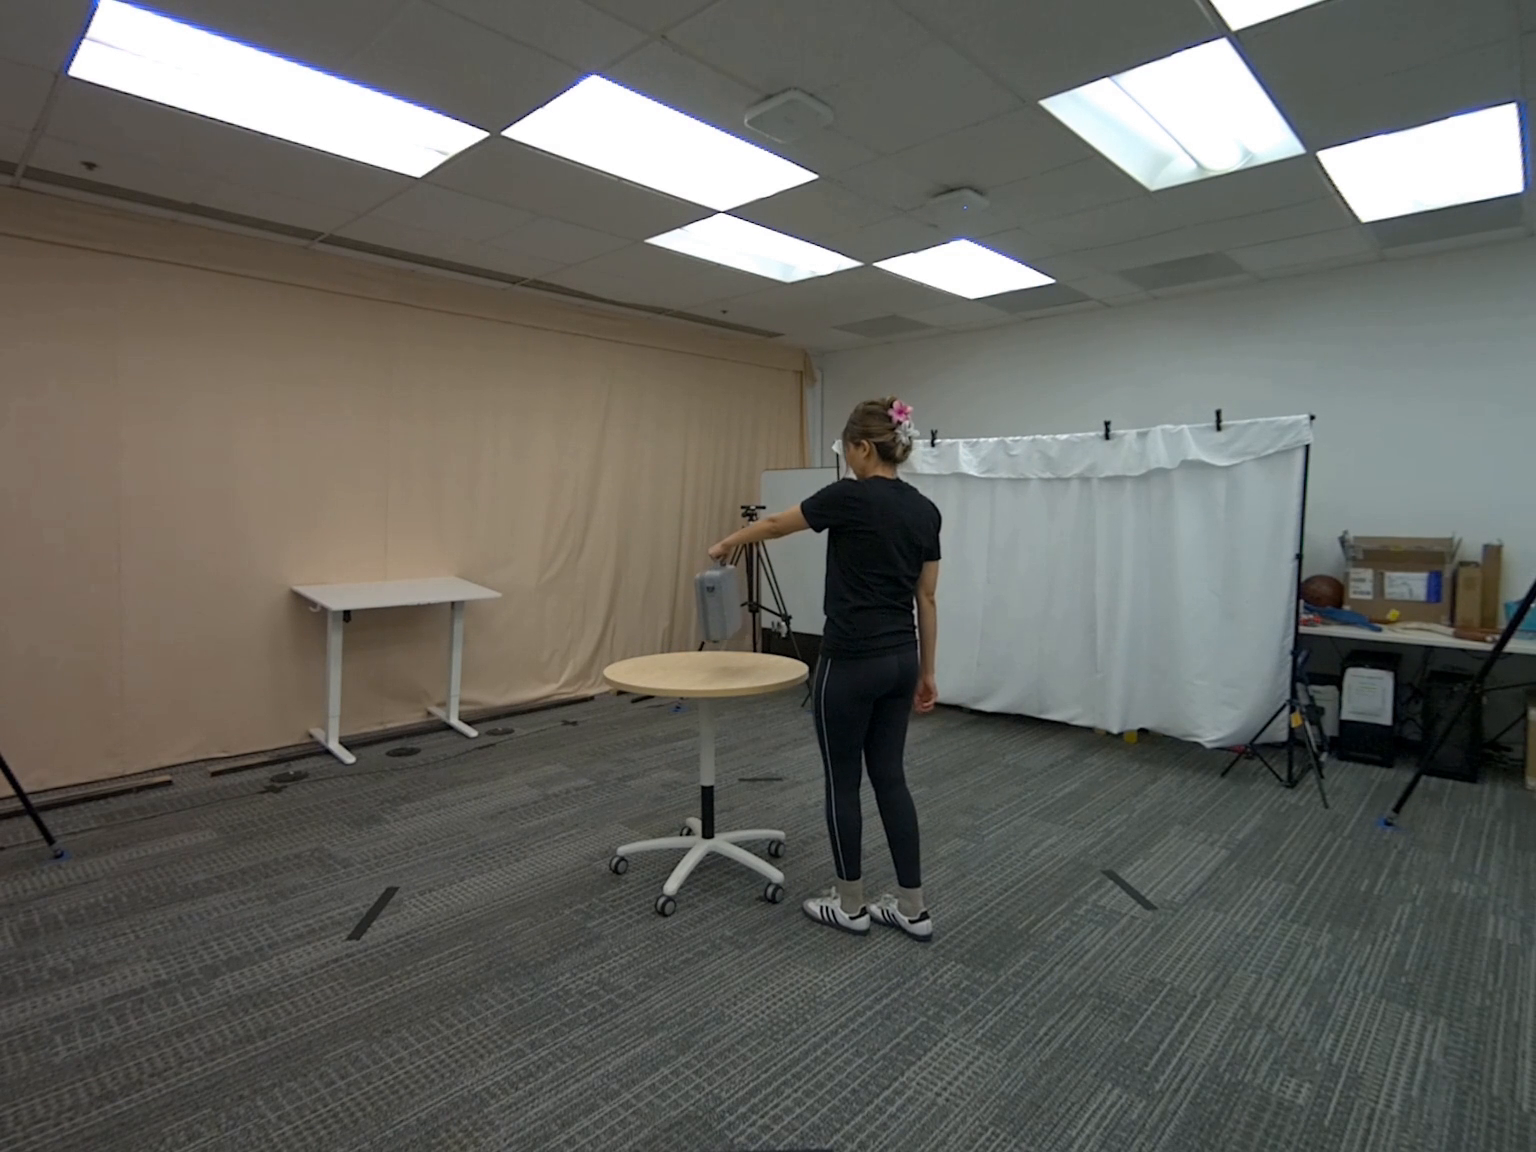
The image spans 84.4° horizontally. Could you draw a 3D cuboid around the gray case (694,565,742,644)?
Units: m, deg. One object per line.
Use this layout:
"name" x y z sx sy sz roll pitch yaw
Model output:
"gray case" -0.170 0.094 3.077 0.106 0.259 0.255 -3 8 12
